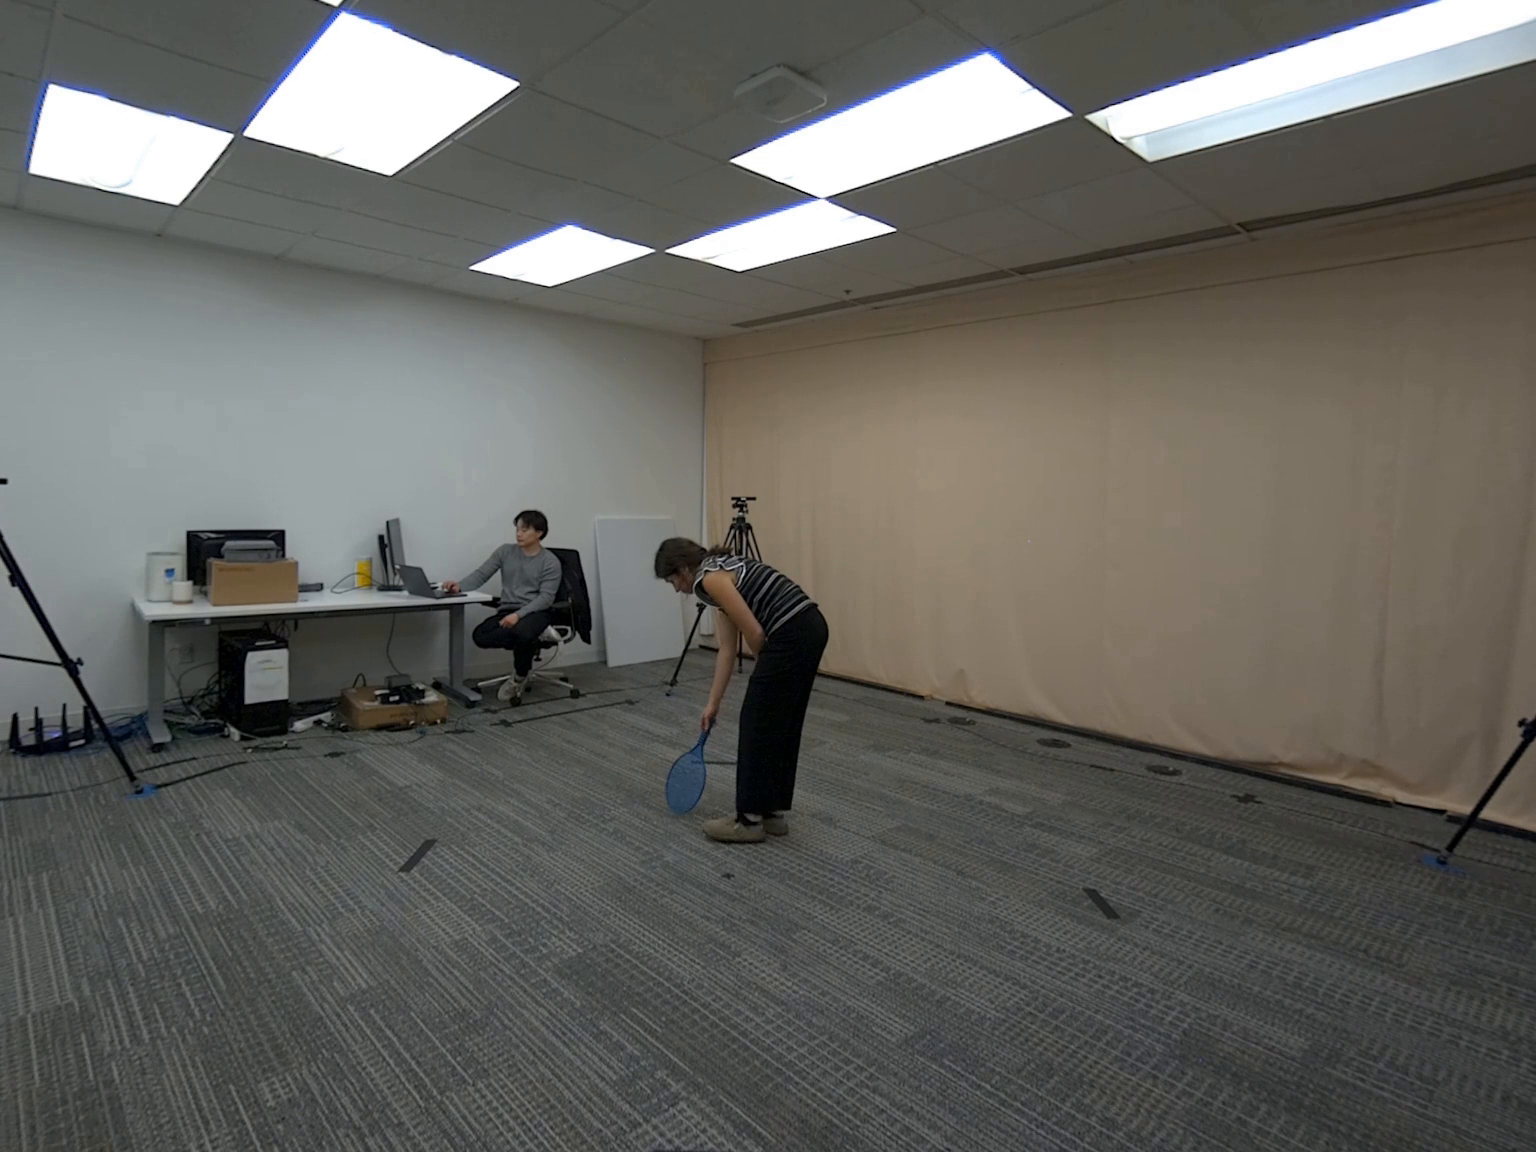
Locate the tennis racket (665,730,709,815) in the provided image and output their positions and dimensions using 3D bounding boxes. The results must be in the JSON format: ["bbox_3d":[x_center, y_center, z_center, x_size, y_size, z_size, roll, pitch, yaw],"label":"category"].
[{"bbox_3d":[-0.331,0.819,3.664,0.220,0.433,0.031,19,-3,43],"label":"tennis racket"}]
